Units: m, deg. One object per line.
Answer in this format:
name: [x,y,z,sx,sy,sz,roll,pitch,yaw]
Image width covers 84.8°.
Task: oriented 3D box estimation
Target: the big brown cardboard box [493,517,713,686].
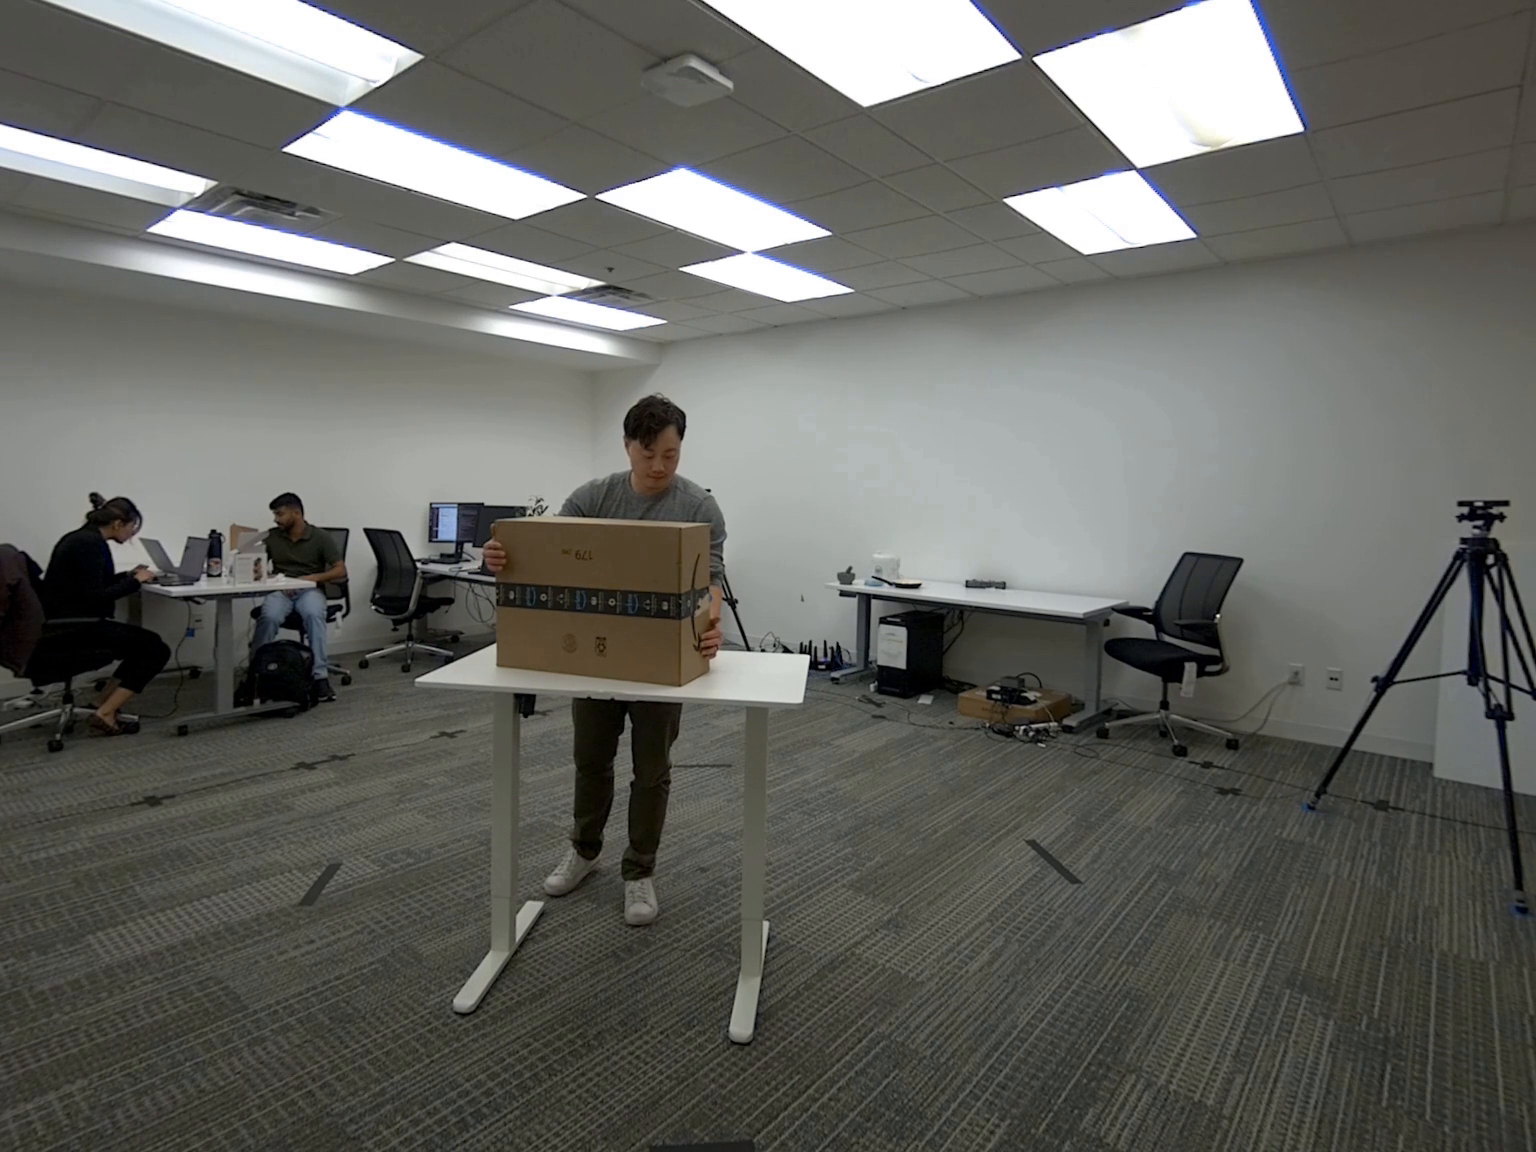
big brown cardboard box: [-0.476,0.053,2.377,0.602,0.416,0.229,3,5,20]
